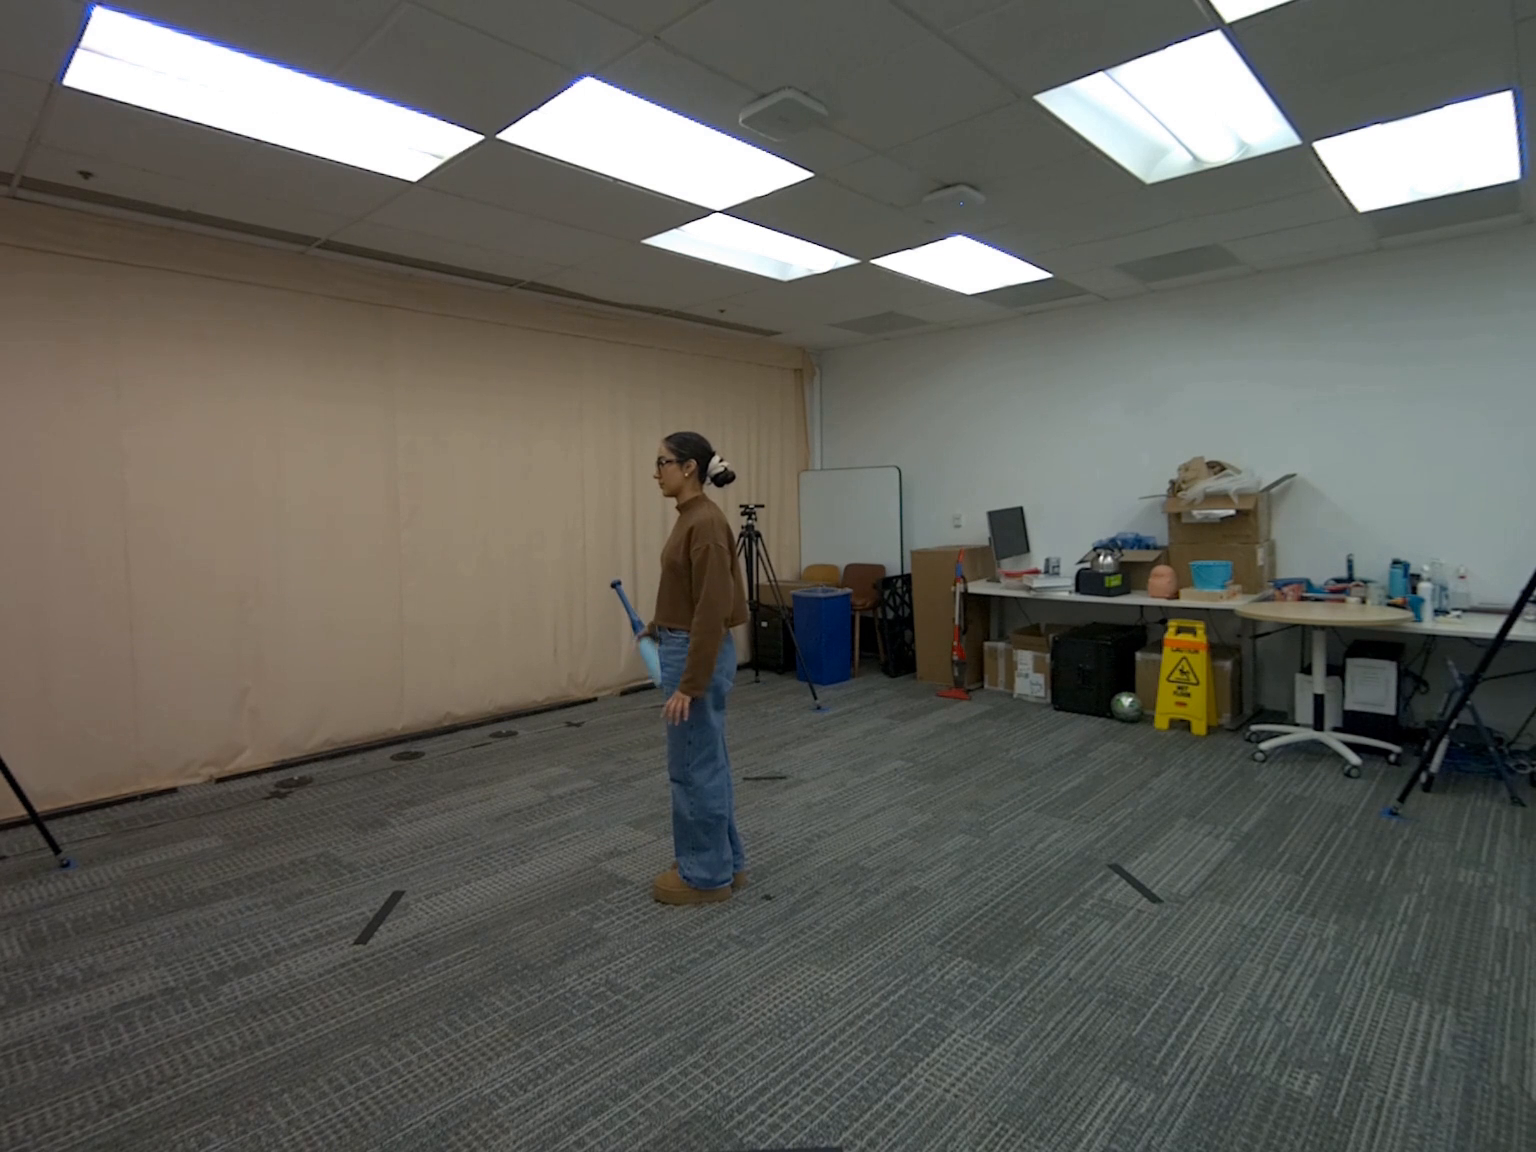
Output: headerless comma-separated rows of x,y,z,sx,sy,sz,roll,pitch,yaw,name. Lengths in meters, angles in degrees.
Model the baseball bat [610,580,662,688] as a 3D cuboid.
-0.513,0.226,3.444,0.088,0.559,0.087,-23,-31,-17,baseball bat
